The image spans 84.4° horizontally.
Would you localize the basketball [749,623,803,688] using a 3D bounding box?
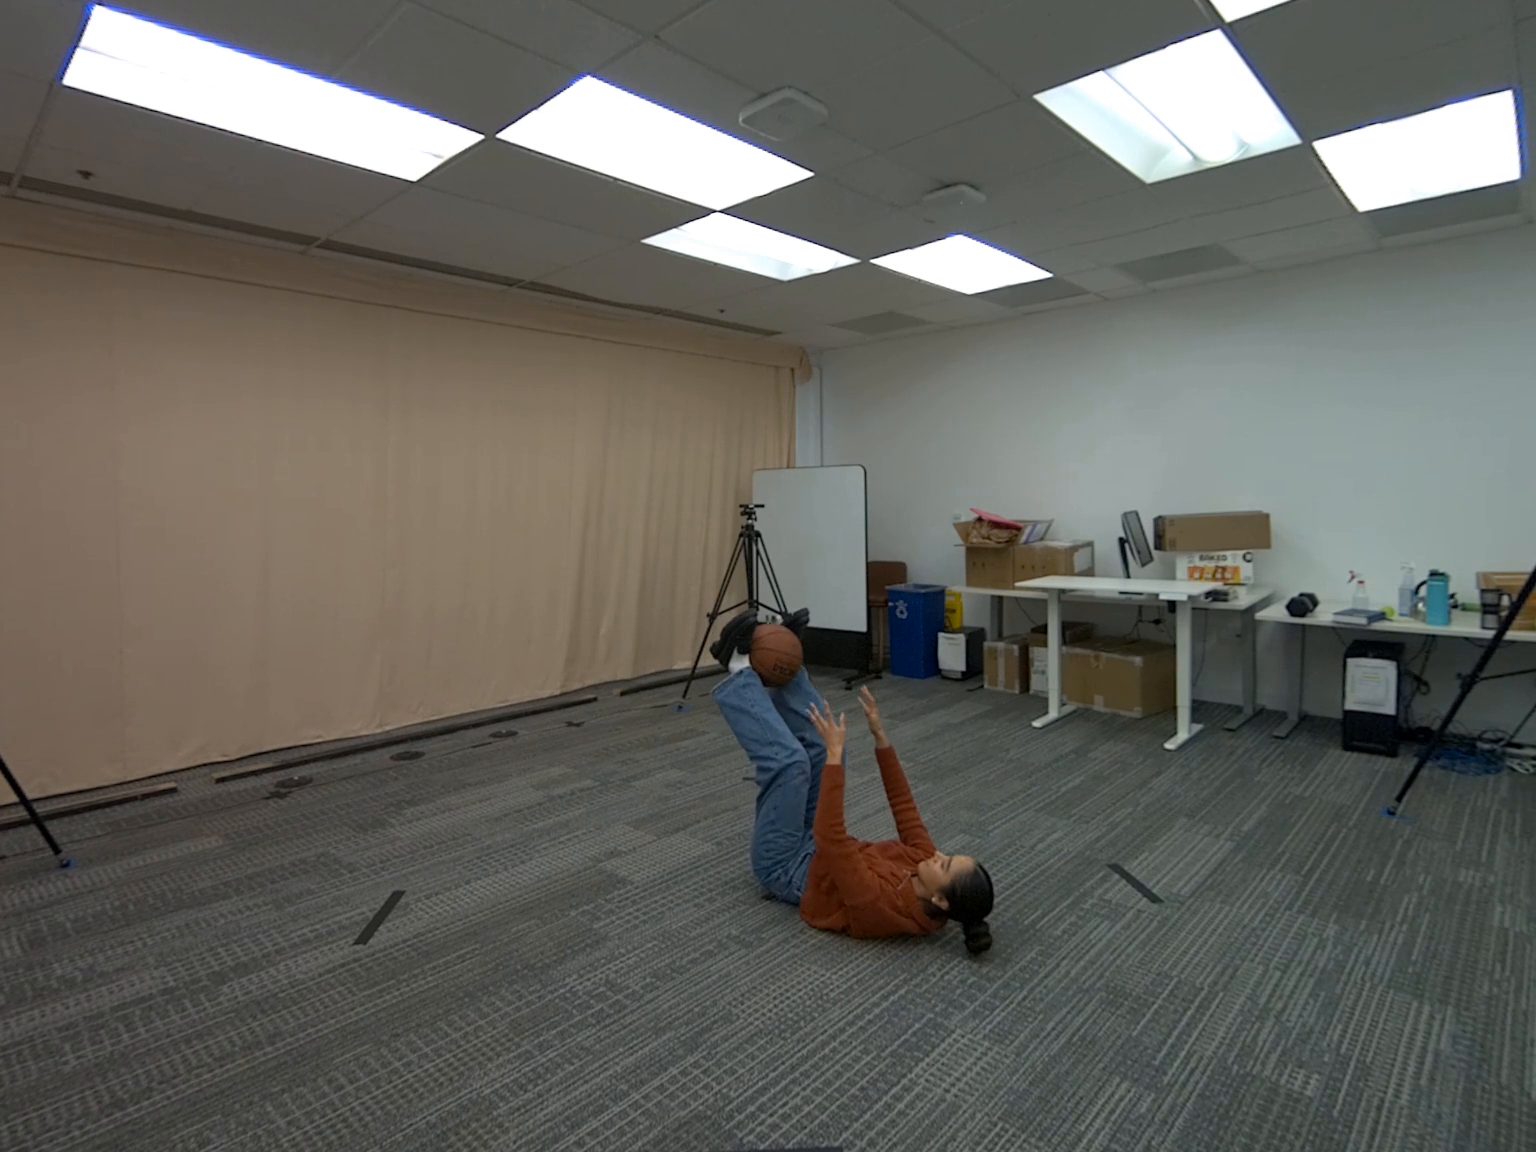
[{"bbox_3d":[0.009,0.299,3.127,0.235,0.235,0.237,2,5,-2],"label":"basketball"}]
